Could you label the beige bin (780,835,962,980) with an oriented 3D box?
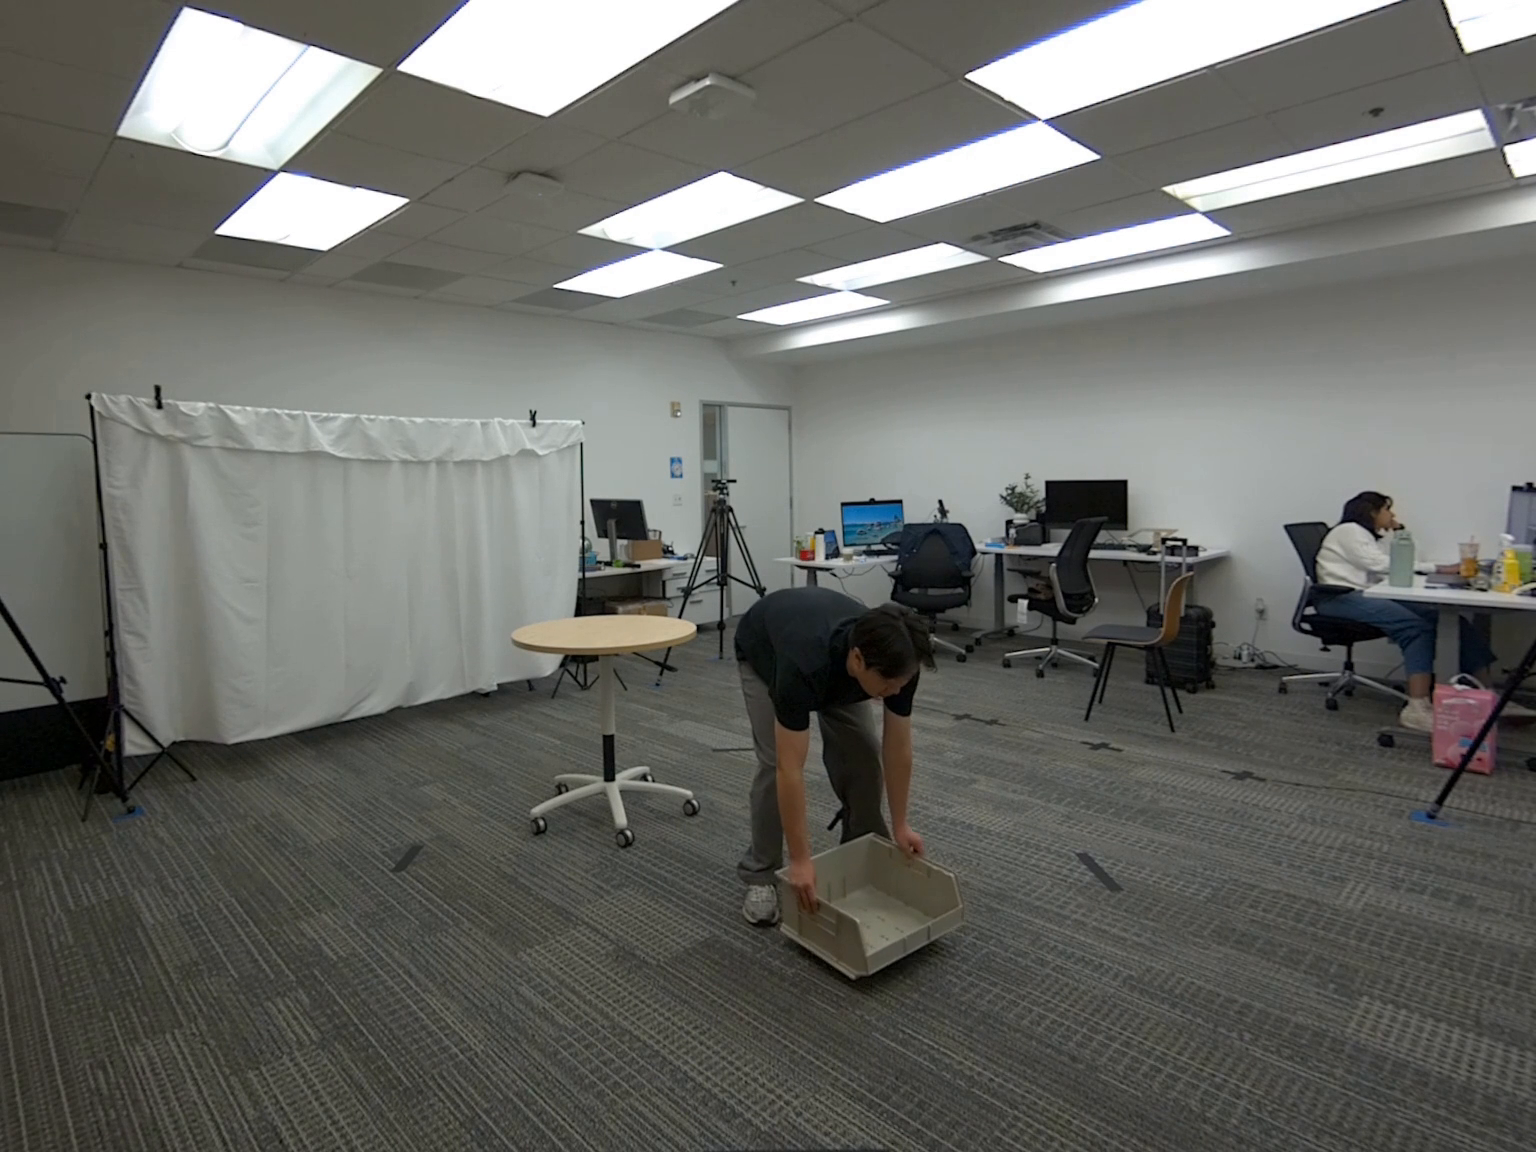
[{"bbox_3d":[0.307,0.965,2.531,0.412,0.188,0.389,-7,8,-38],"label":"beige bin"}]
